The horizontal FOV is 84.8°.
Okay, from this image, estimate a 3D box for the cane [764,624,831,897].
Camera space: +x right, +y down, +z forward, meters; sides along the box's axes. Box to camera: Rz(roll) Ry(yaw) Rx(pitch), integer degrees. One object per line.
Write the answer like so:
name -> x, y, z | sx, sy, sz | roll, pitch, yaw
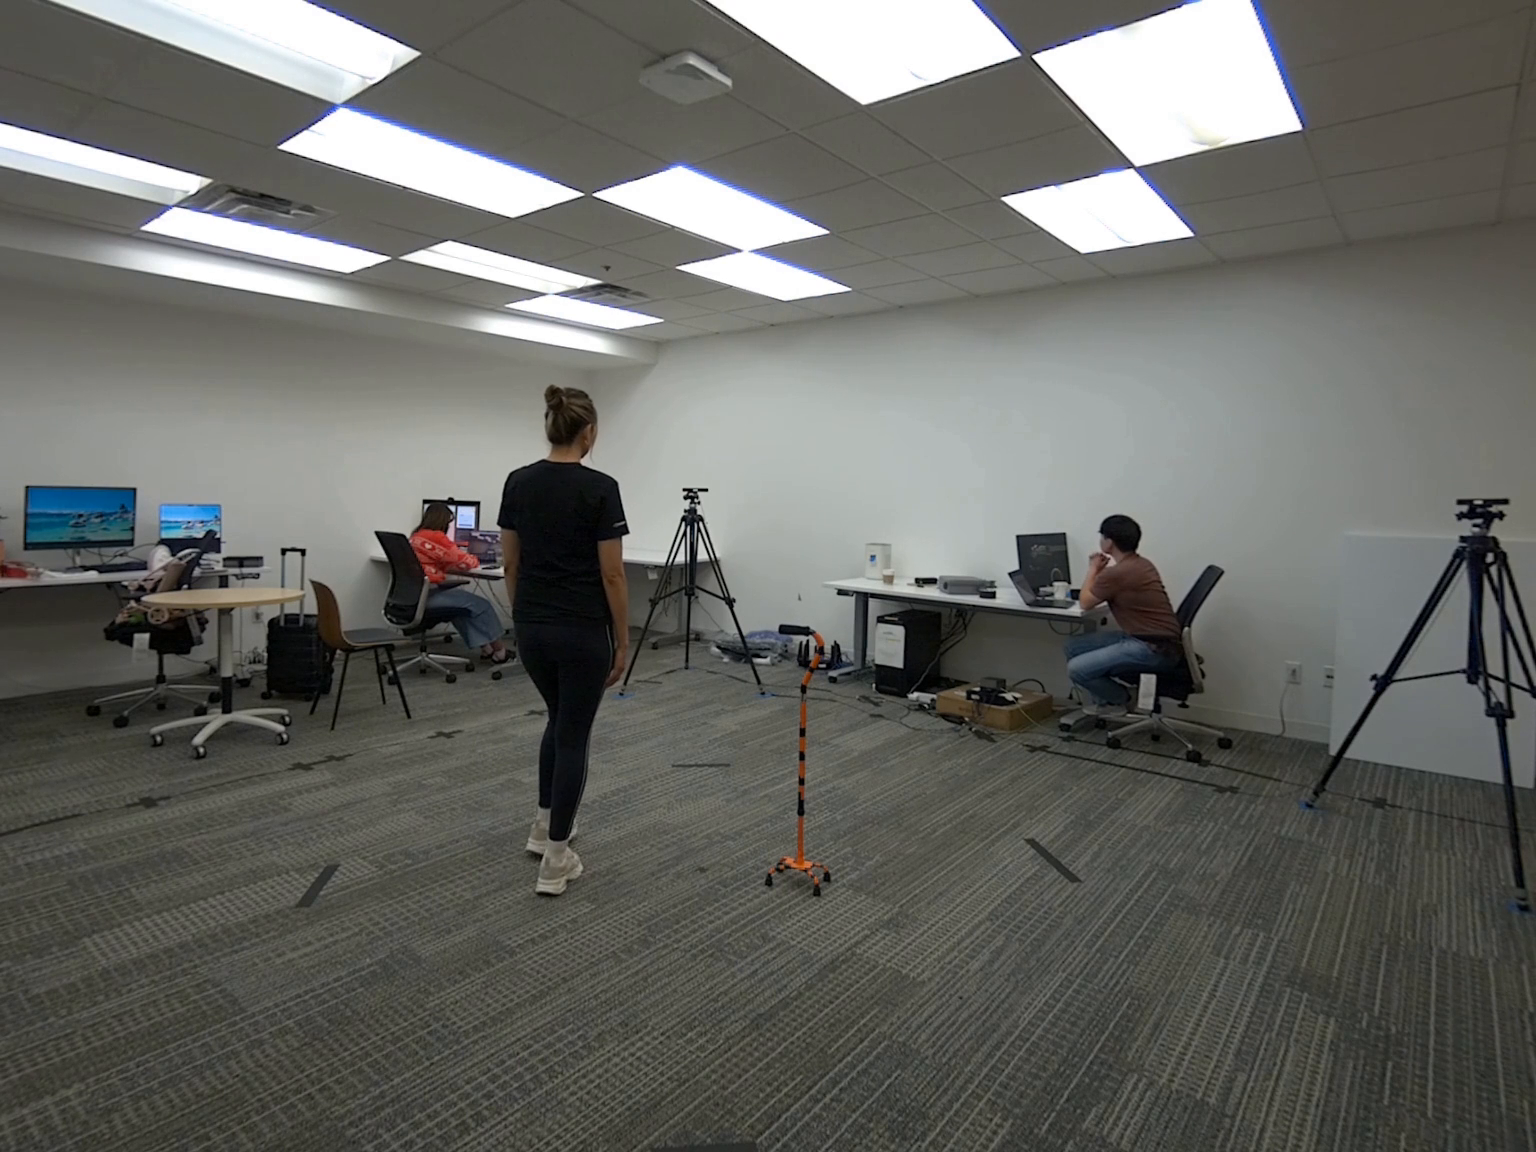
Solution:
cane -> 0.115, 0.638, 2.995 | 0.211, 0.905, 0.149 | 3, 3, 19
